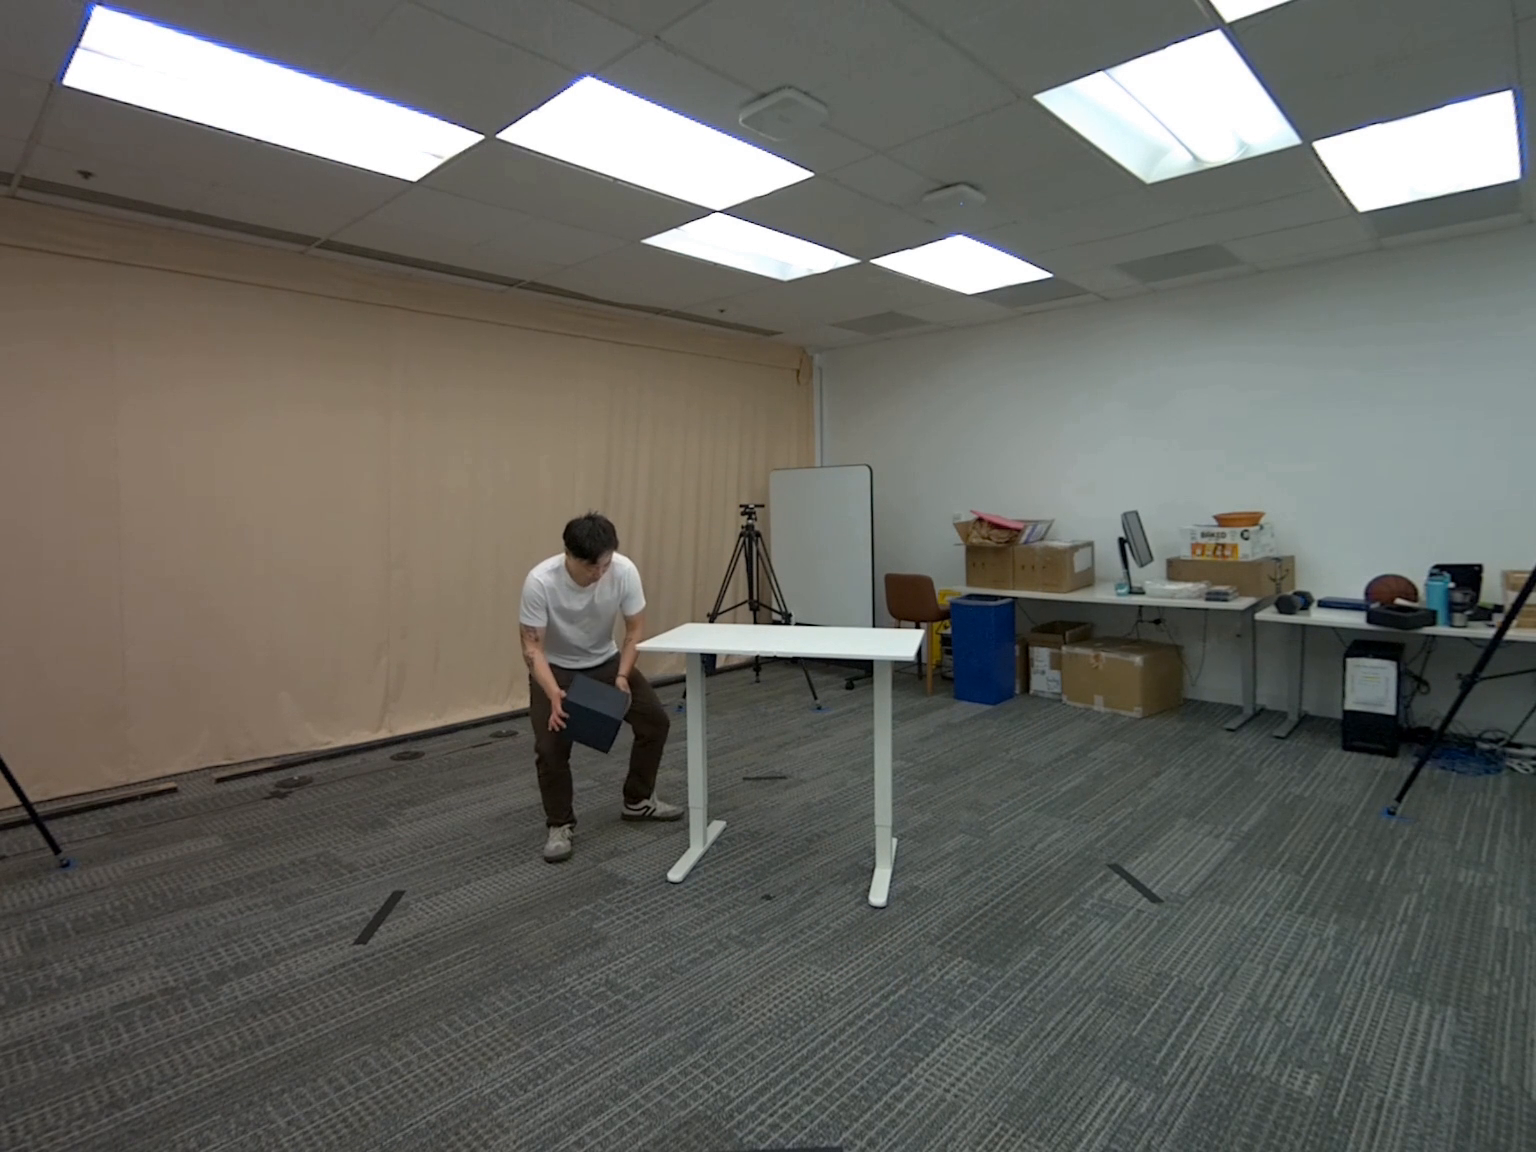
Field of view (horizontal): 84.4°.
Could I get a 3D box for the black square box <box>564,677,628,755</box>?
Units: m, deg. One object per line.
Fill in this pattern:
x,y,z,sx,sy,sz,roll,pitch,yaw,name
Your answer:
-0.669,0.521,3.205,0.225,0.155,0.220,17,17,-10,black square box
